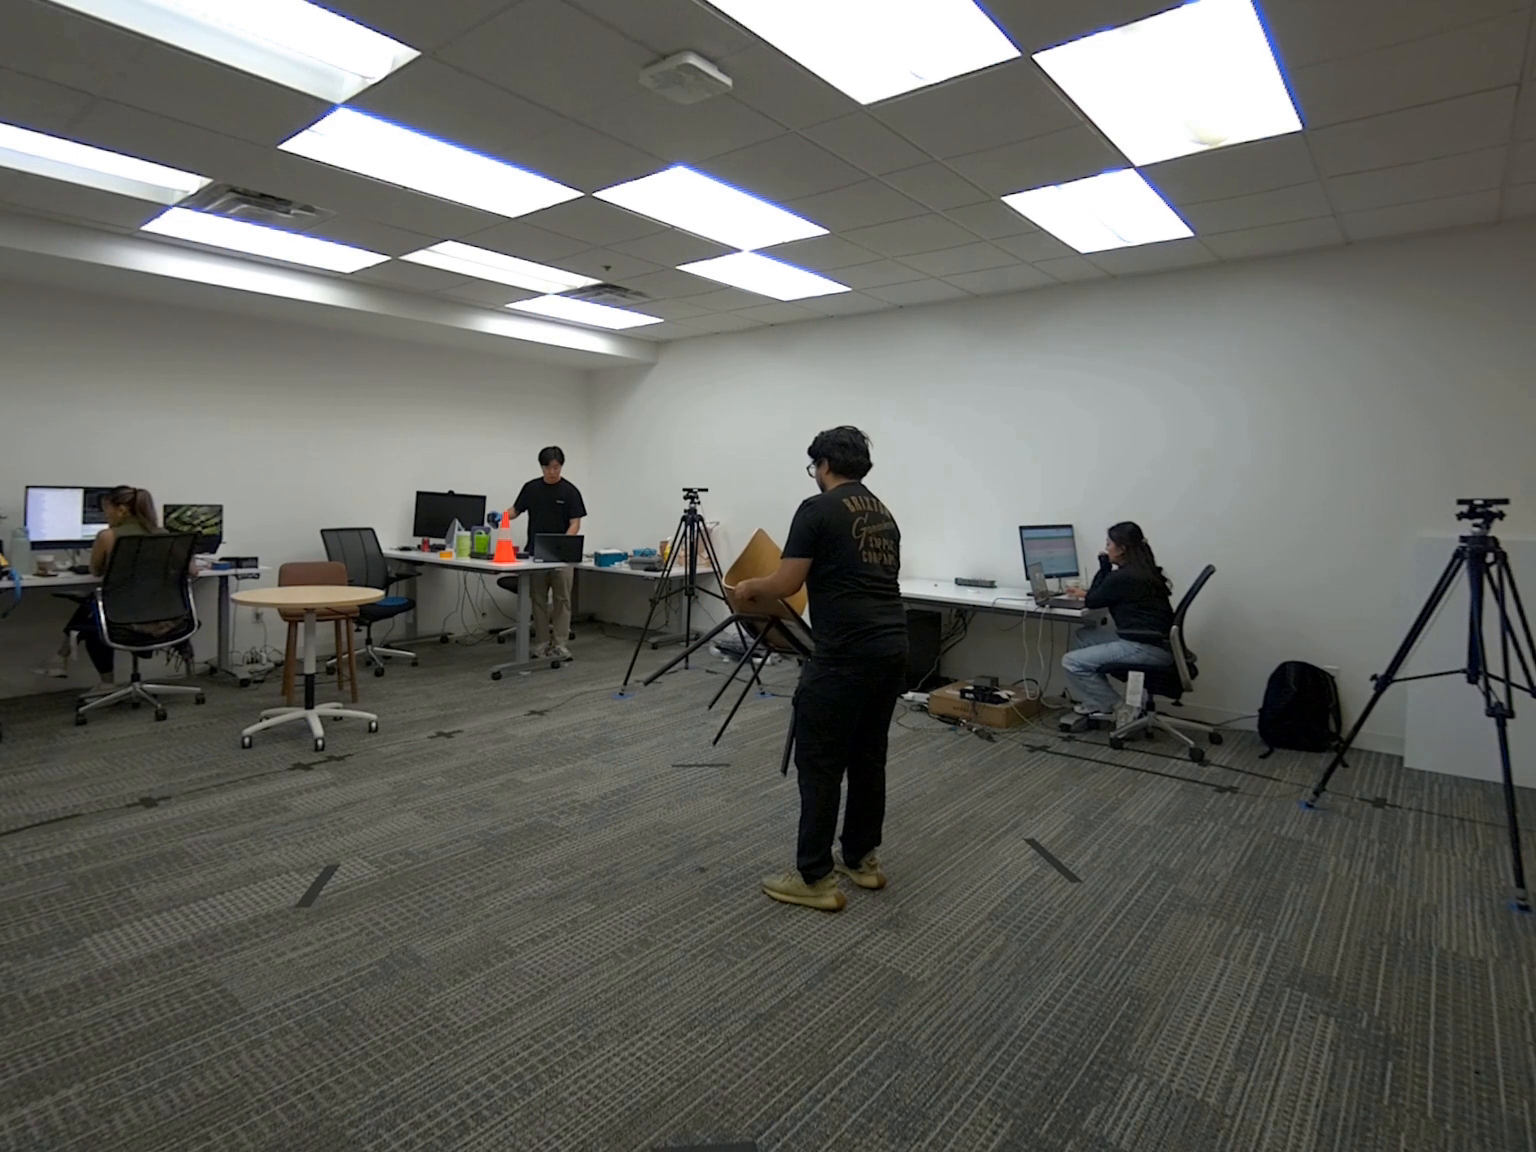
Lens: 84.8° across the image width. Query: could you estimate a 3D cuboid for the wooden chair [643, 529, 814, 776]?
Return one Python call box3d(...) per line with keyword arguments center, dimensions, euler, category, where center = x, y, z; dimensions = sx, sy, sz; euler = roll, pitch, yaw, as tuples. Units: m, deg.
box3d(center=(0.002, 0.234, 3.291), dimensions=(0.539, 0.882, 0.461), euler=(0, -38, 50), category="wooden chair")
